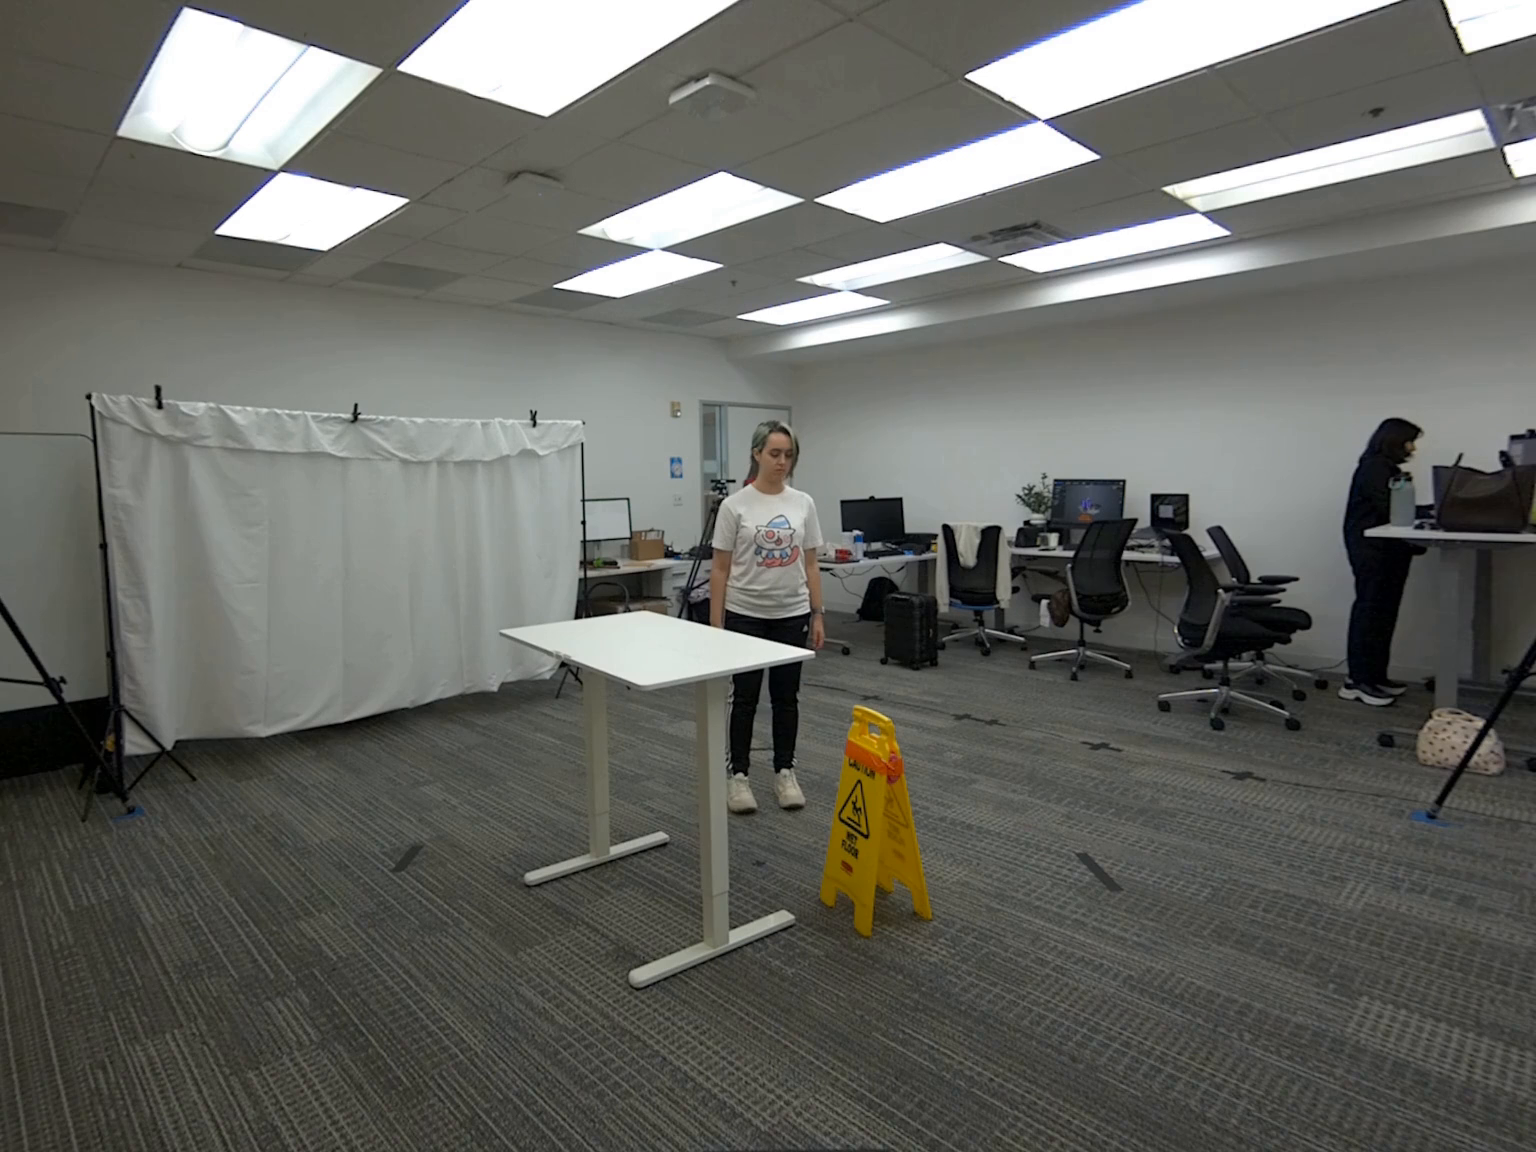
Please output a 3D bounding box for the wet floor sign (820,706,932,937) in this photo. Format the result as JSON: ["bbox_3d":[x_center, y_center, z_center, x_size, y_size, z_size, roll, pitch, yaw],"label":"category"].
[{"bbox_3d":[0.342,0.760,2.739,0.284,0.643,0.289,-2,5,-25],"label":"wet floor sign"}]
